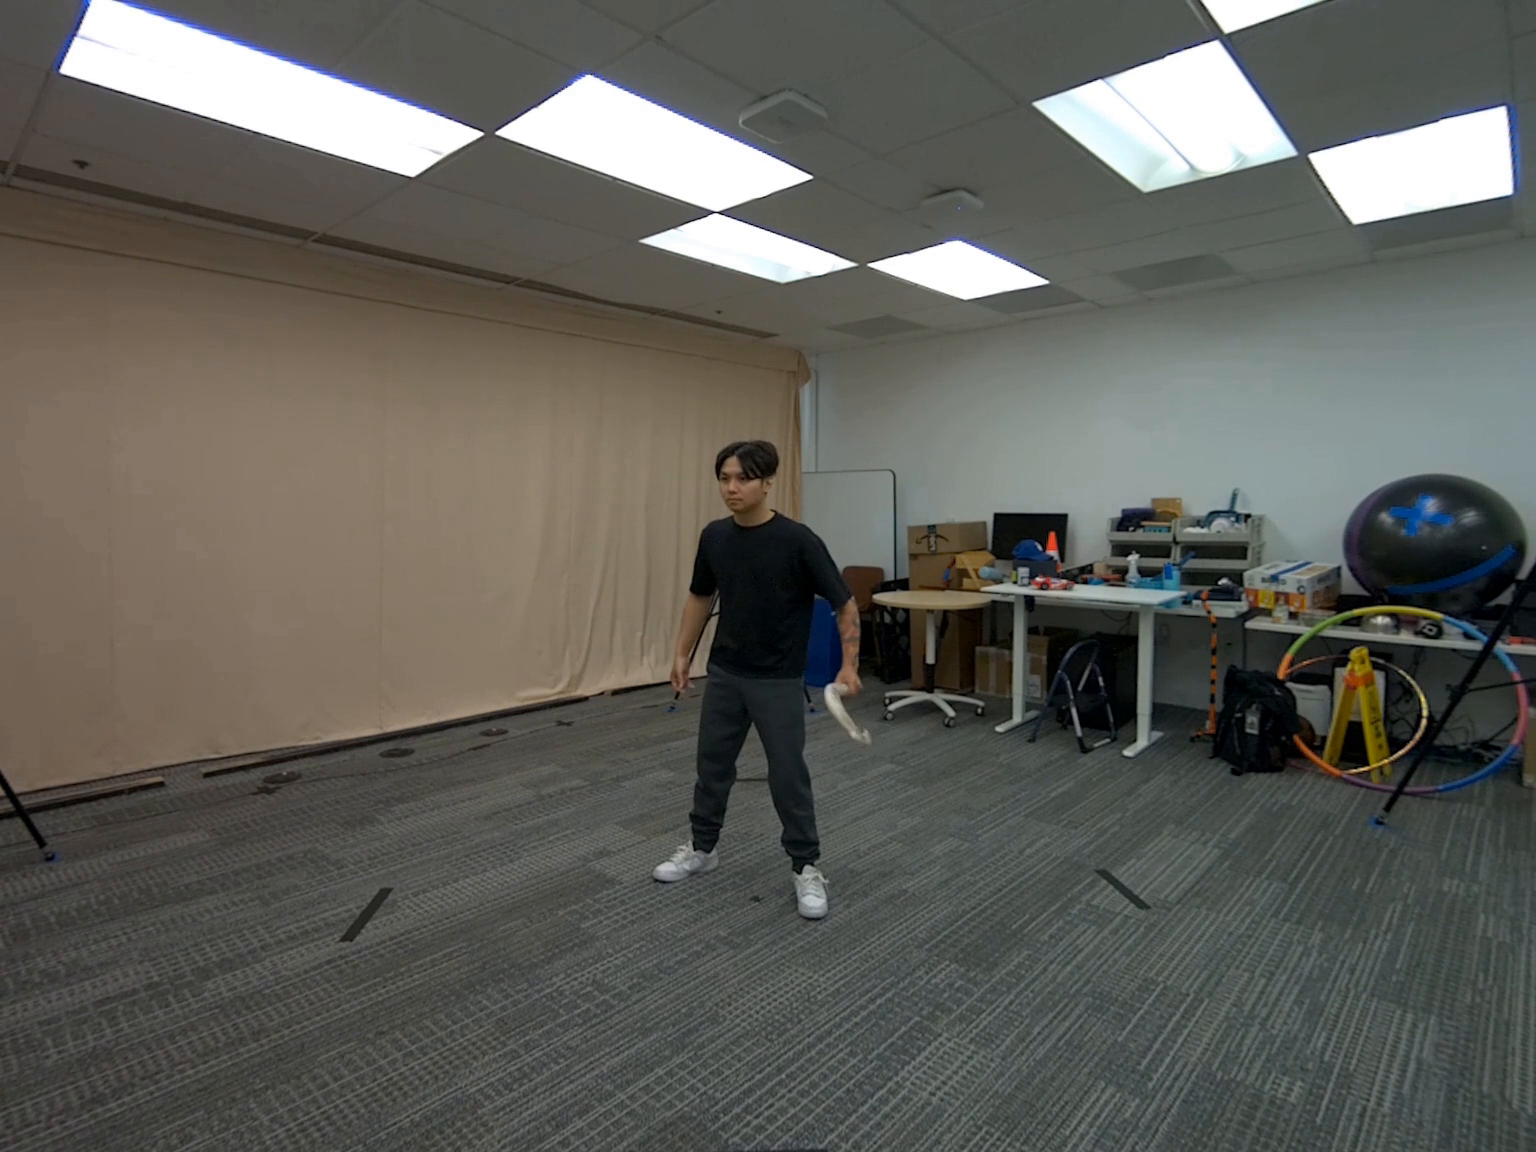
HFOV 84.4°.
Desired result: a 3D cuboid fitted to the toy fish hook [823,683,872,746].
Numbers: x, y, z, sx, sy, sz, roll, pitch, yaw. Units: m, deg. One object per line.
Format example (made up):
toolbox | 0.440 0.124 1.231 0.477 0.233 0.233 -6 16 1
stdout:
toy fish hook | 0.259 0.404 2.755 0.048 0.226 0.500 -33 -4 13
